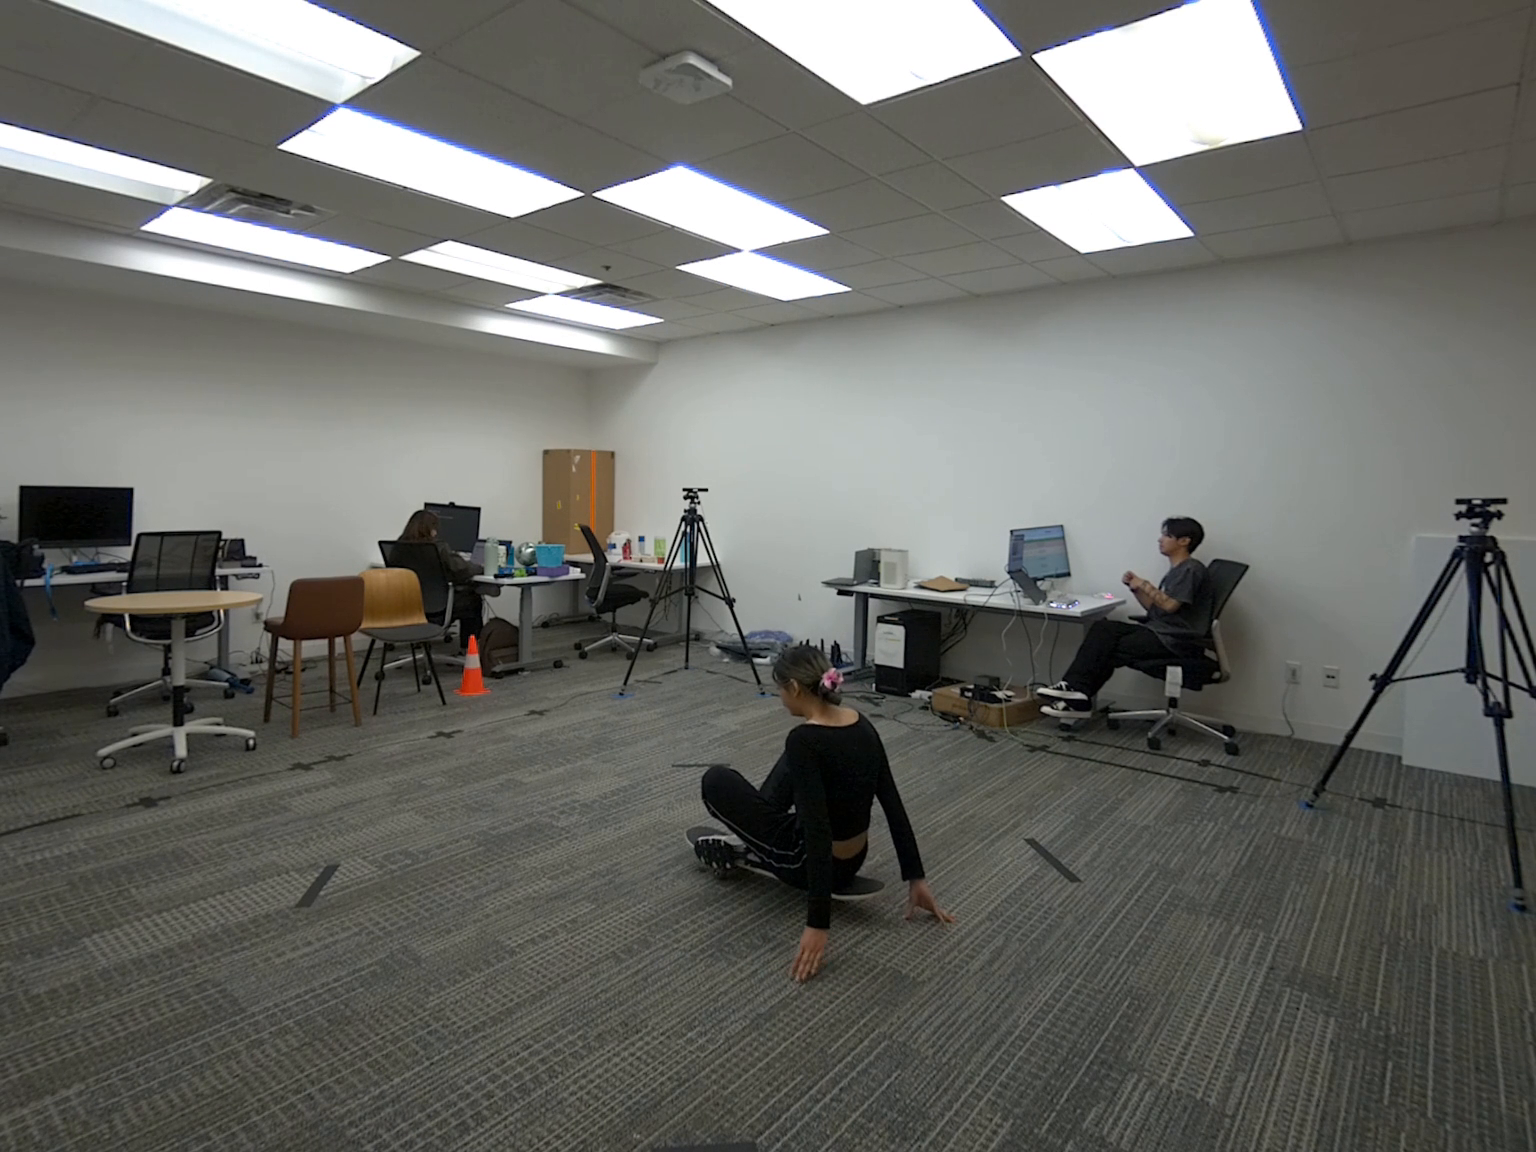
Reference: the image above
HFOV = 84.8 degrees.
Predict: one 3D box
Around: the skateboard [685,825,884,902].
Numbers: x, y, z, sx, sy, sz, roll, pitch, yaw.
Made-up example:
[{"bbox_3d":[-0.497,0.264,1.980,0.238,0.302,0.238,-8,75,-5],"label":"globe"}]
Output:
[{"bbox_3d":[0.021,1.027,2.977,0.811,0.110,0.188,6,5,33],"label":"skateboard"}]
